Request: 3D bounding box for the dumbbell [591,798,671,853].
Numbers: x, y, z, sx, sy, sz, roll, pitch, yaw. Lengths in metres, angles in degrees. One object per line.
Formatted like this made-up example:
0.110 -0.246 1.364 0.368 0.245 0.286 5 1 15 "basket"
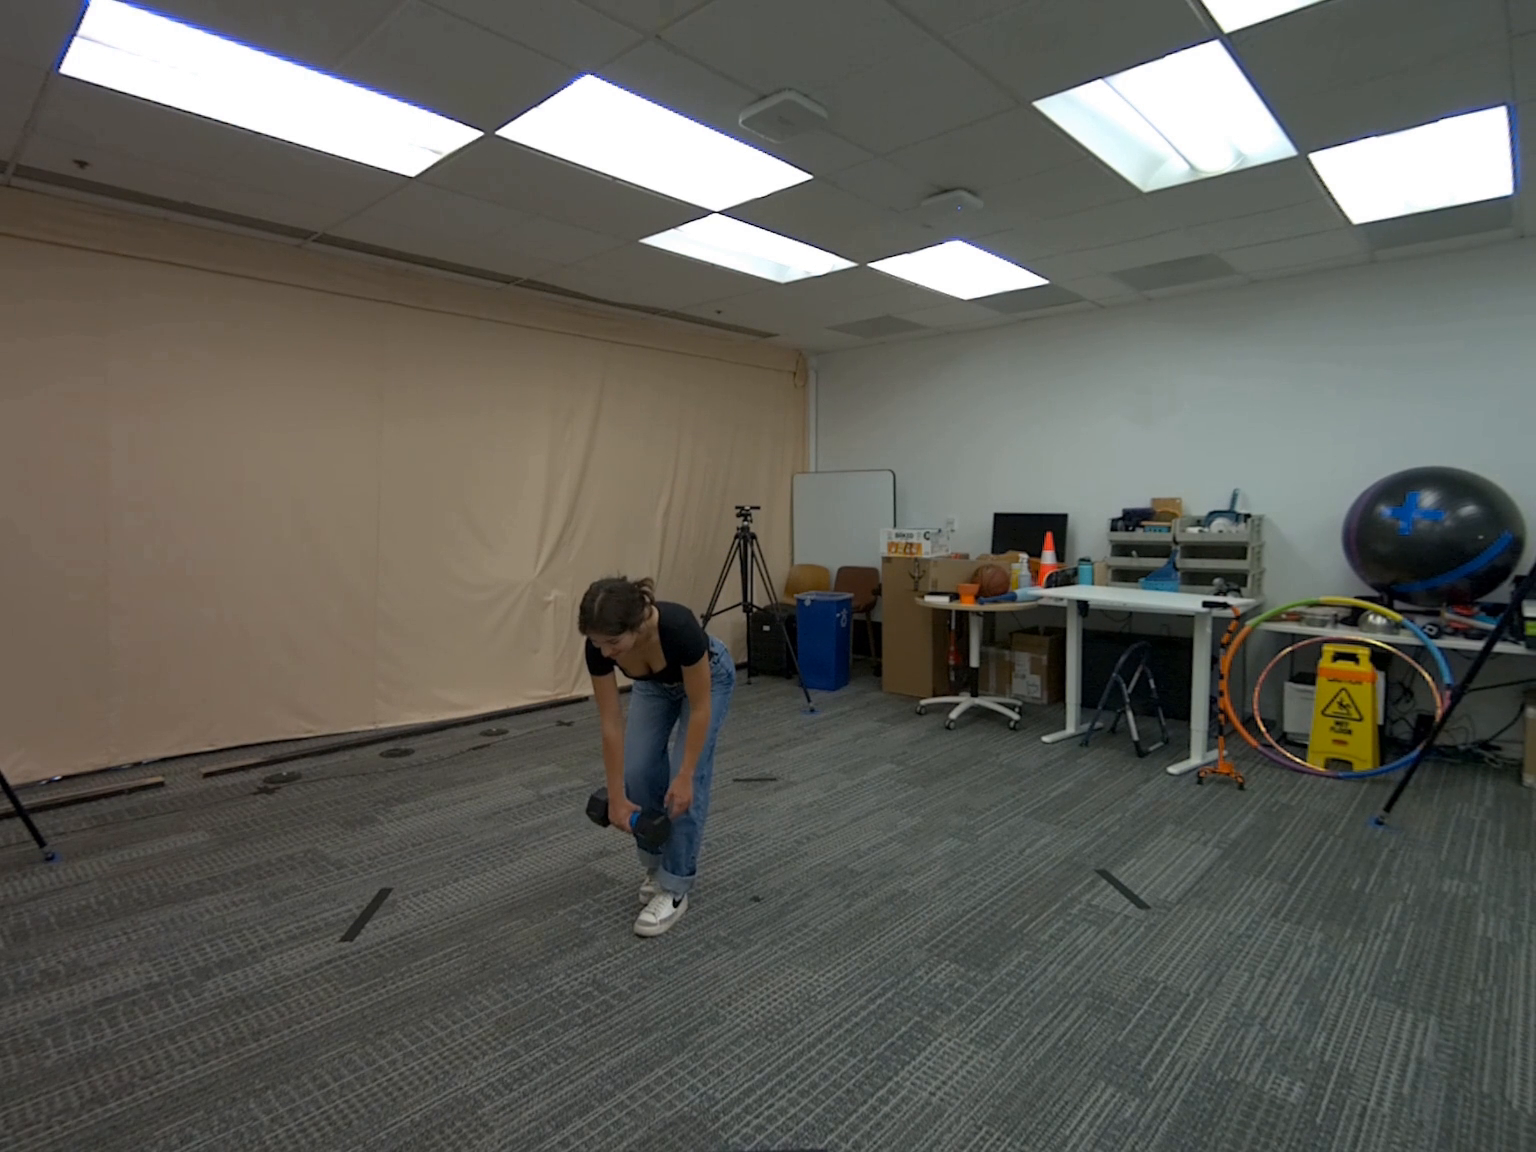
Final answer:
-0.463 0.801 2.801 0.303 0.119 0.108 10 49 32 "dumbbell"
